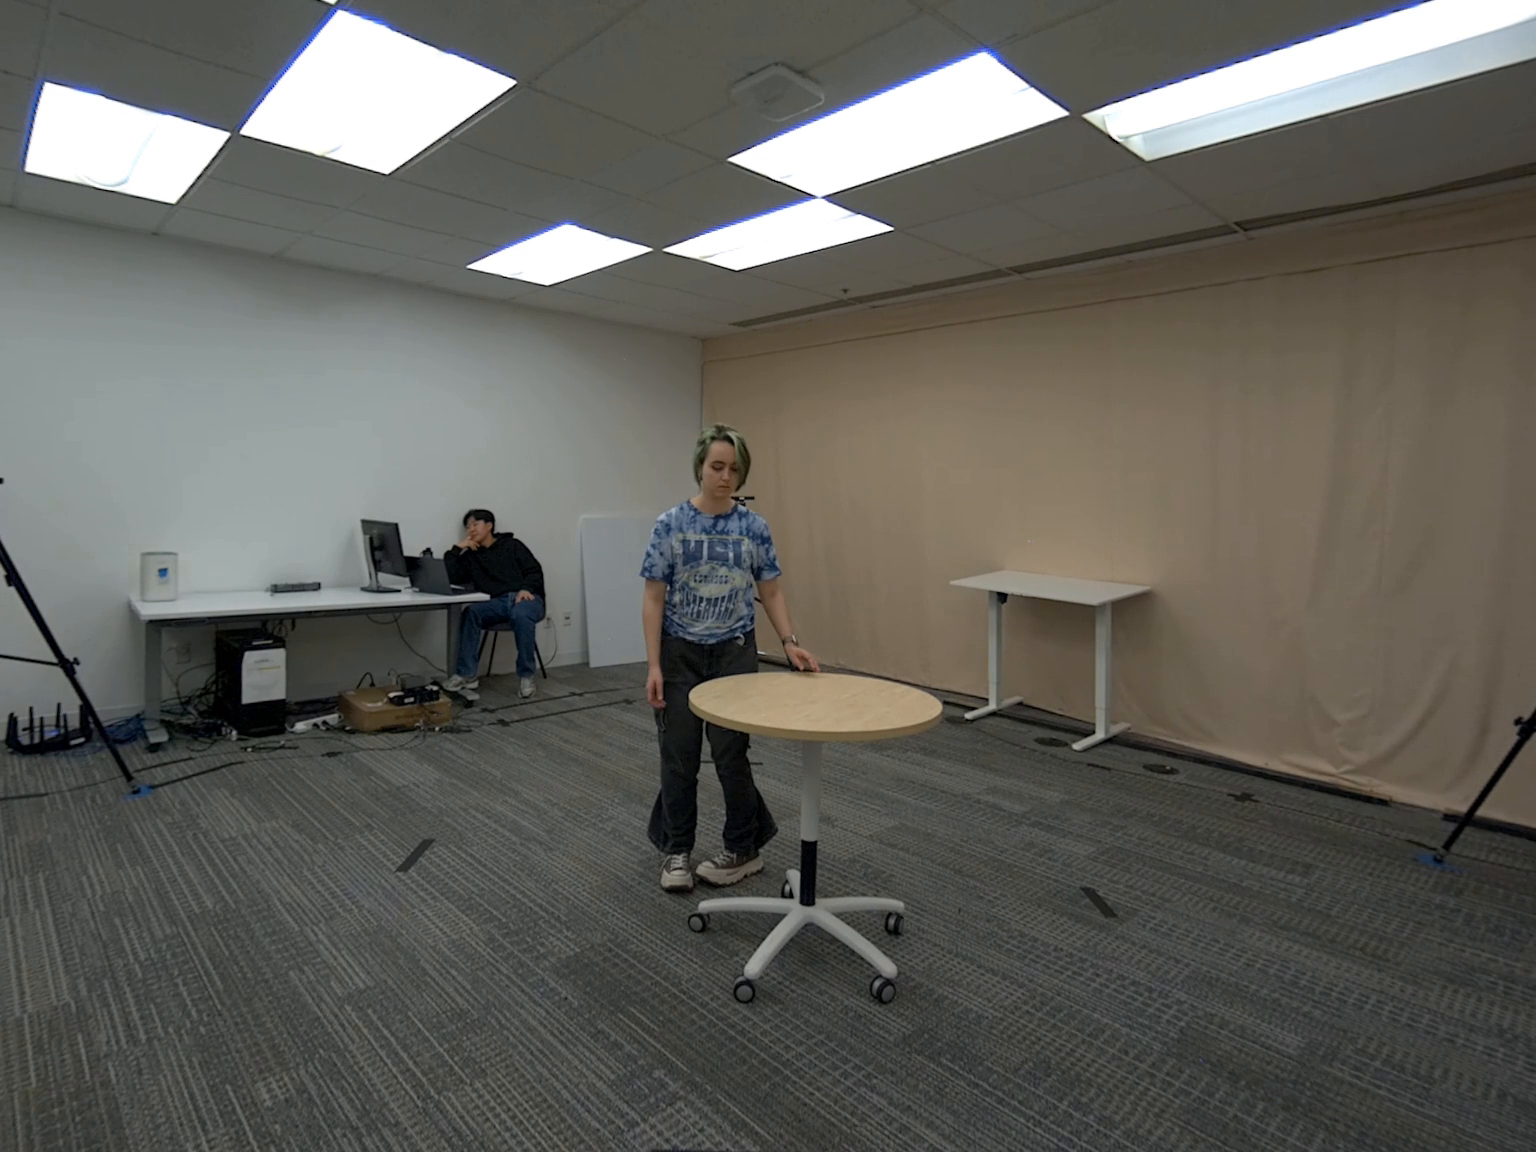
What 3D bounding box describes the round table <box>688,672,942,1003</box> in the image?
[{"bbox_3d":[0.121,0.767,2.595,0.763,0.792,0.767,2,4,-2],"label":"round table"}]
